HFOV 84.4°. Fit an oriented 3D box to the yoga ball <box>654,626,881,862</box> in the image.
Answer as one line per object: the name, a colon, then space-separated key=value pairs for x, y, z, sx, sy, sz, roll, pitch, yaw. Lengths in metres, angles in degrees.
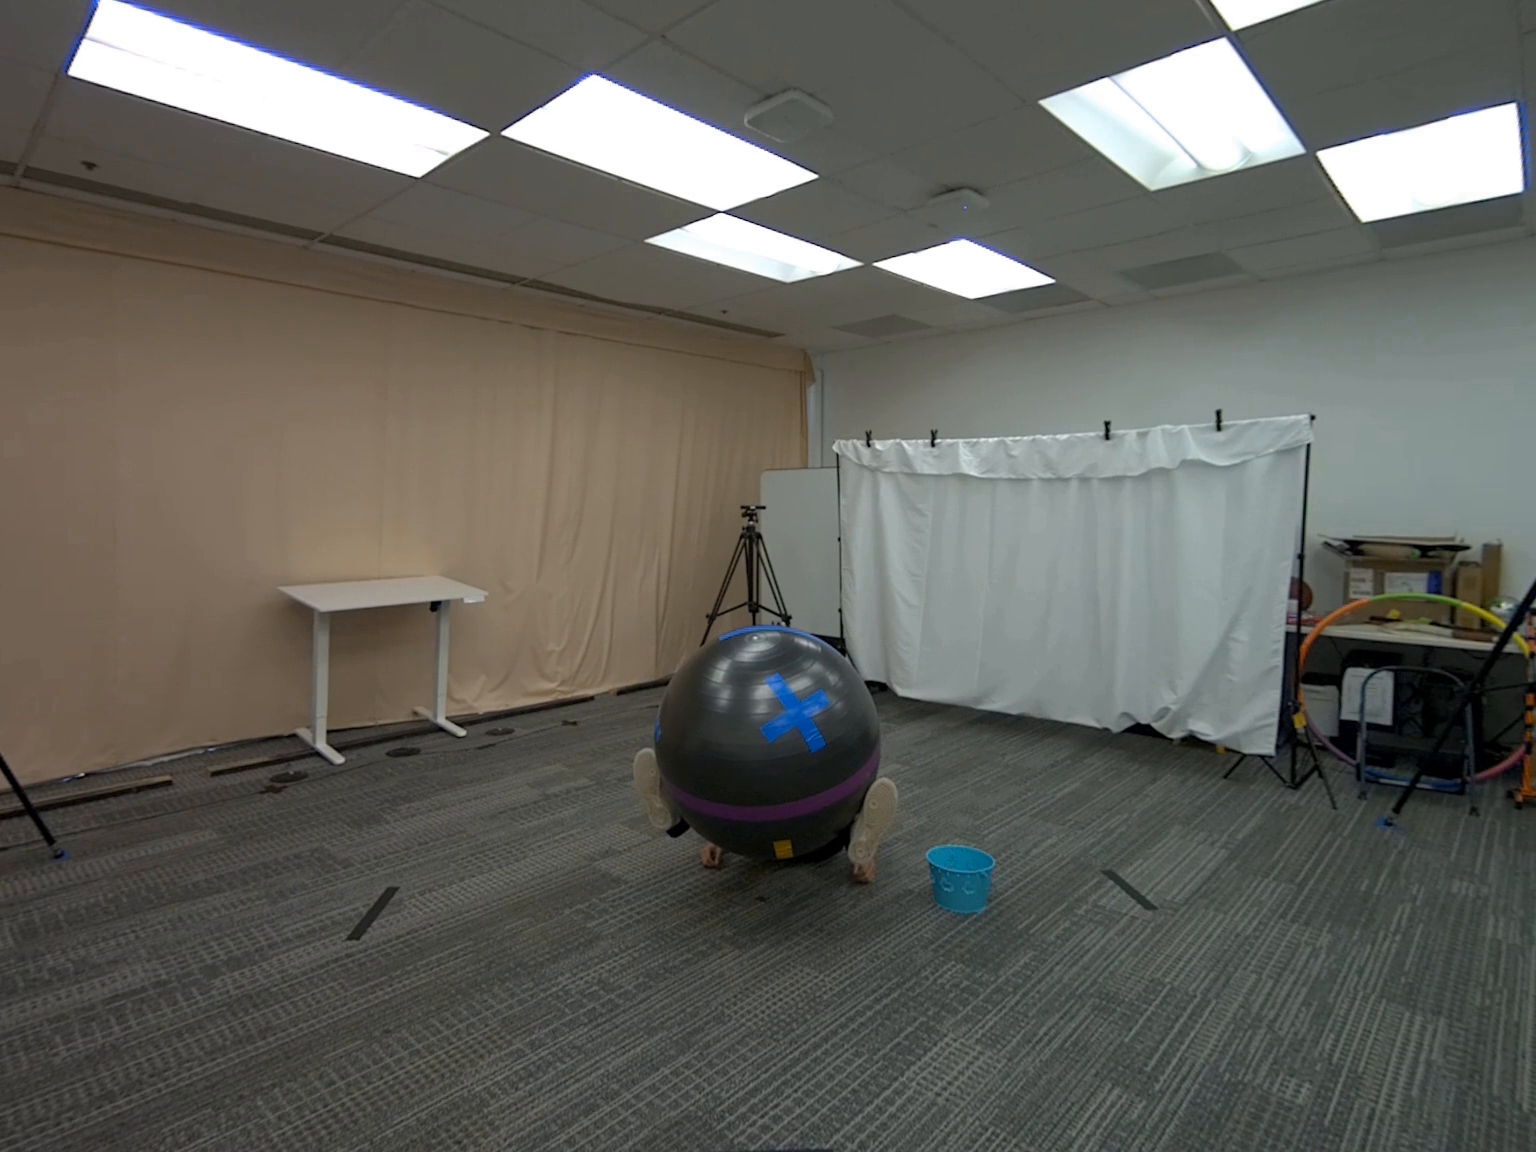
yoga ball: x=0.000 y=0.552 z=2.833 sx=0.757 sy=0.756 sz=0.760 roll=0 pitch=4 yaw=-2
